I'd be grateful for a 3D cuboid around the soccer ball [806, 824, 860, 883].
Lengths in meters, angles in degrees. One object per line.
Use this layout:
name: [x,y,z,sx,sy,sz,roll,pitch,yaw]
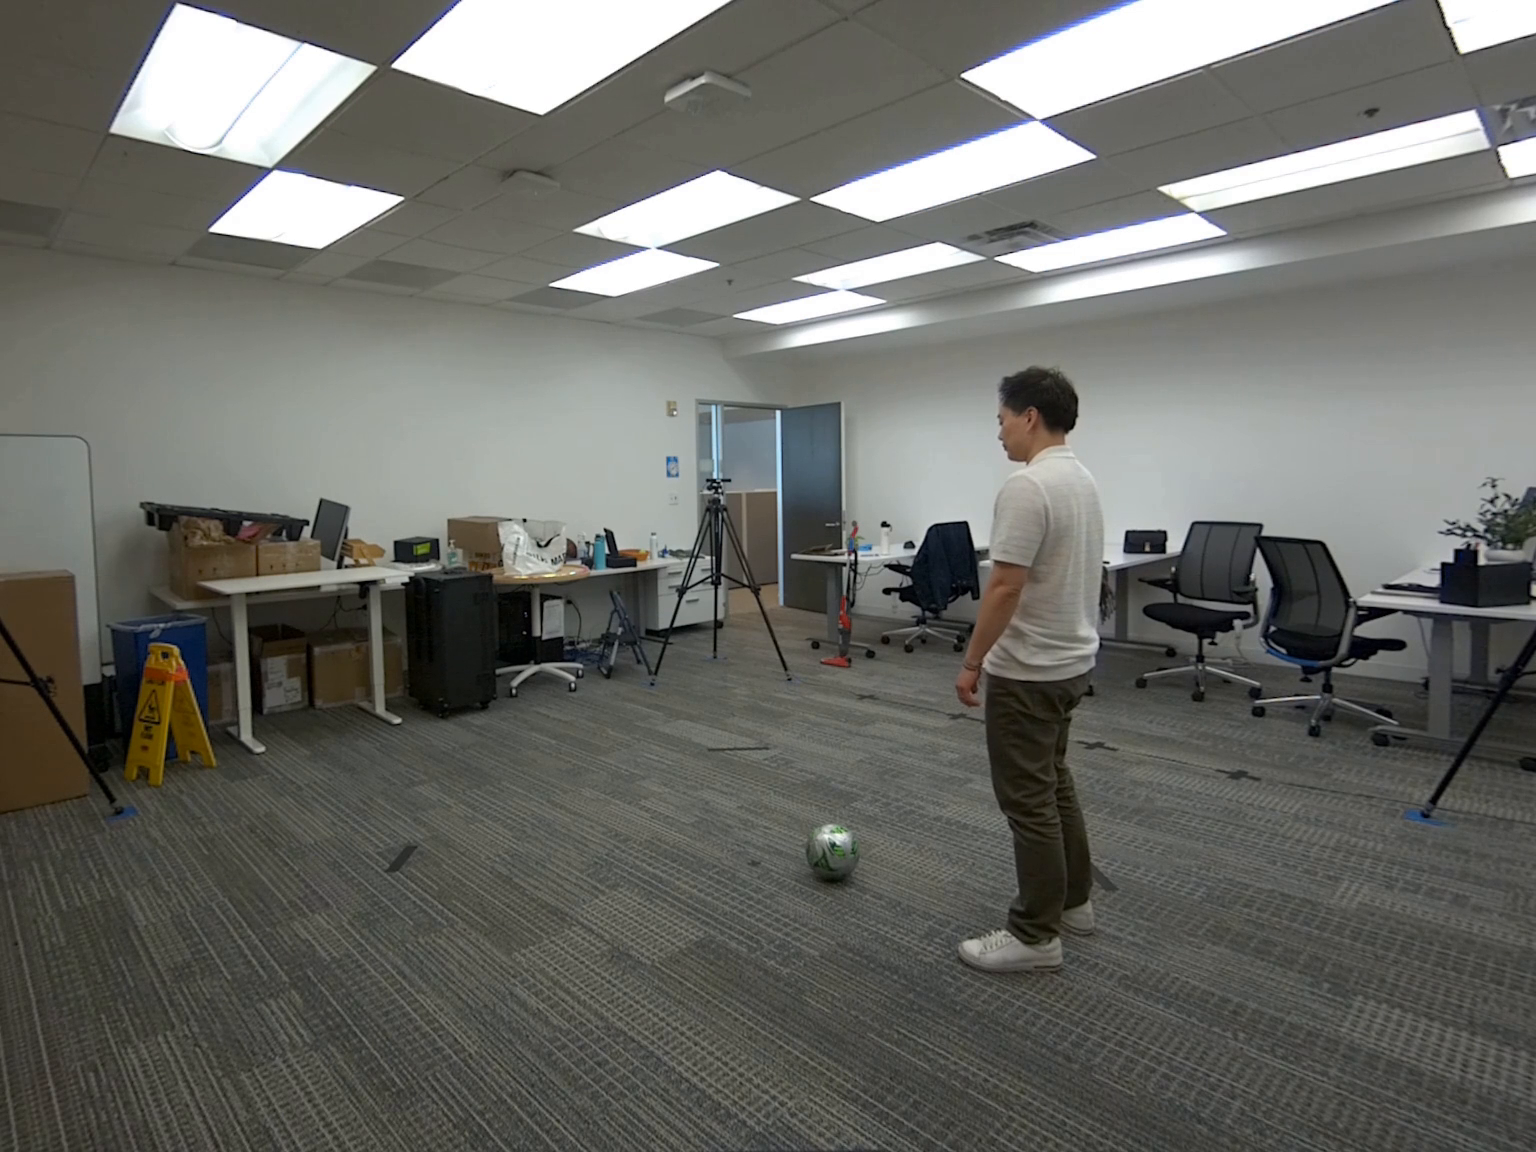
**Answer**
soccer ball: [0.224,0.959,2.983,0.187,0.187,0.188,-1,5,-2]
